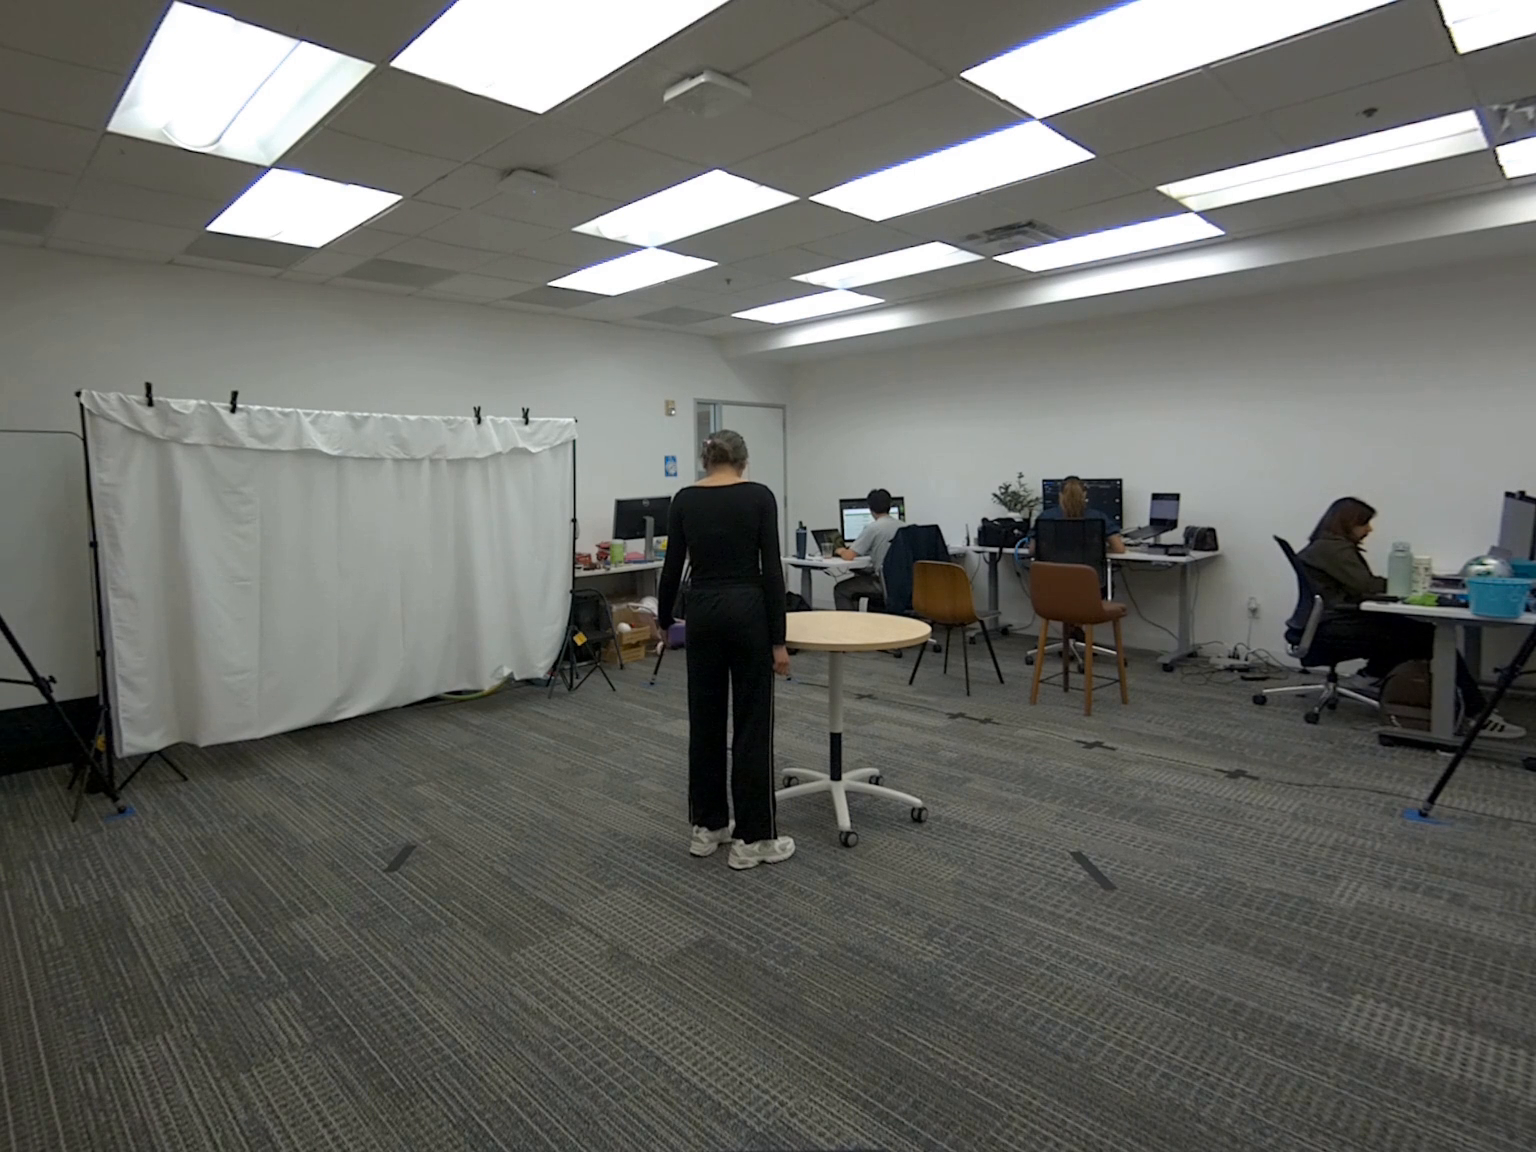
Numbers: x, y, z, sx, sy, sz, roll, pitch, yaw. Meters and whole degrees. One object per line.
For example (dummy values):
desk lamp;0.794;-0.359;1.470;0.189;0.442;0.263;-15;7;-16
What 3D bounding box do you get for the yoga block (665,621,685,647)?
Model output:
yoga block;-0.335;0.229;3.480;0.147;0.076;0.231;-3;1;-12
